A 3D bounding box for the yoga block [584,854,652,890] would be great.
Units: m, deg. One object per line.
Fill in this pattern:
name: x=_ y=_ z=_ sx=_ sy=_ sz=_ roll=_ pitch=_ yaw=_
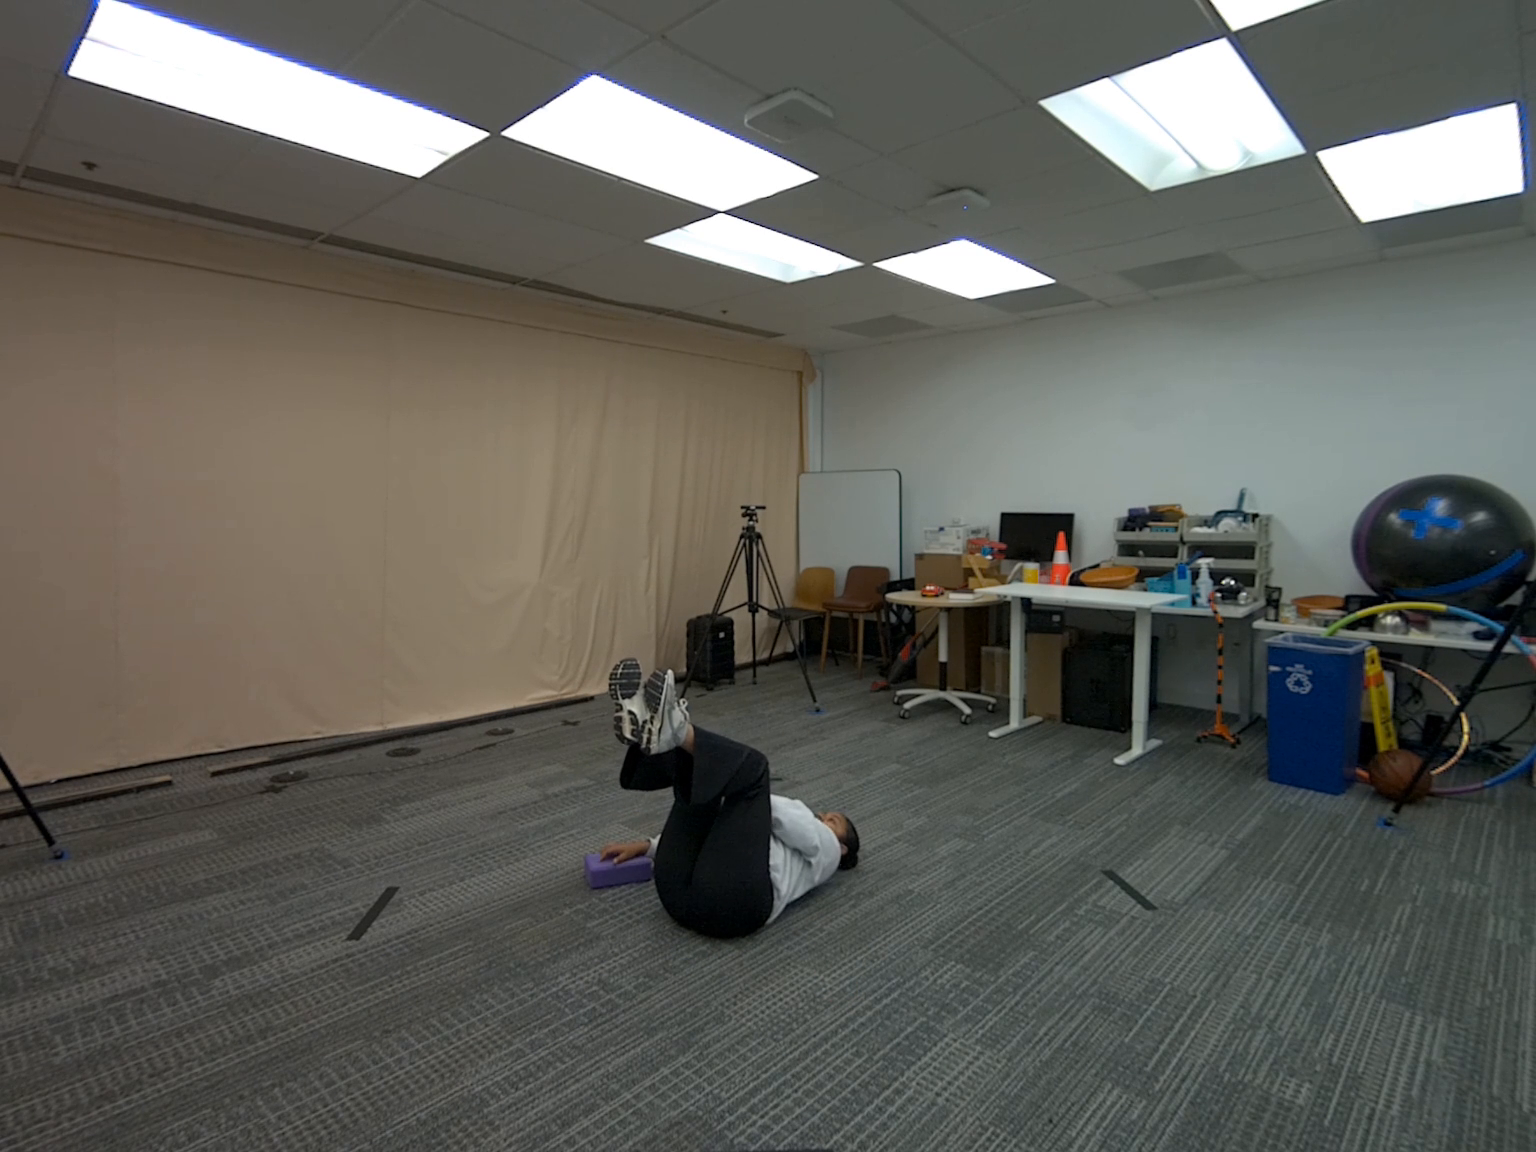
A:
yoga block: x=-0.563 y=1.099 z=3.167 sx=0.225 sy=0.076 sz=0.152 roll=-2 pitch=5 yaw=-18
